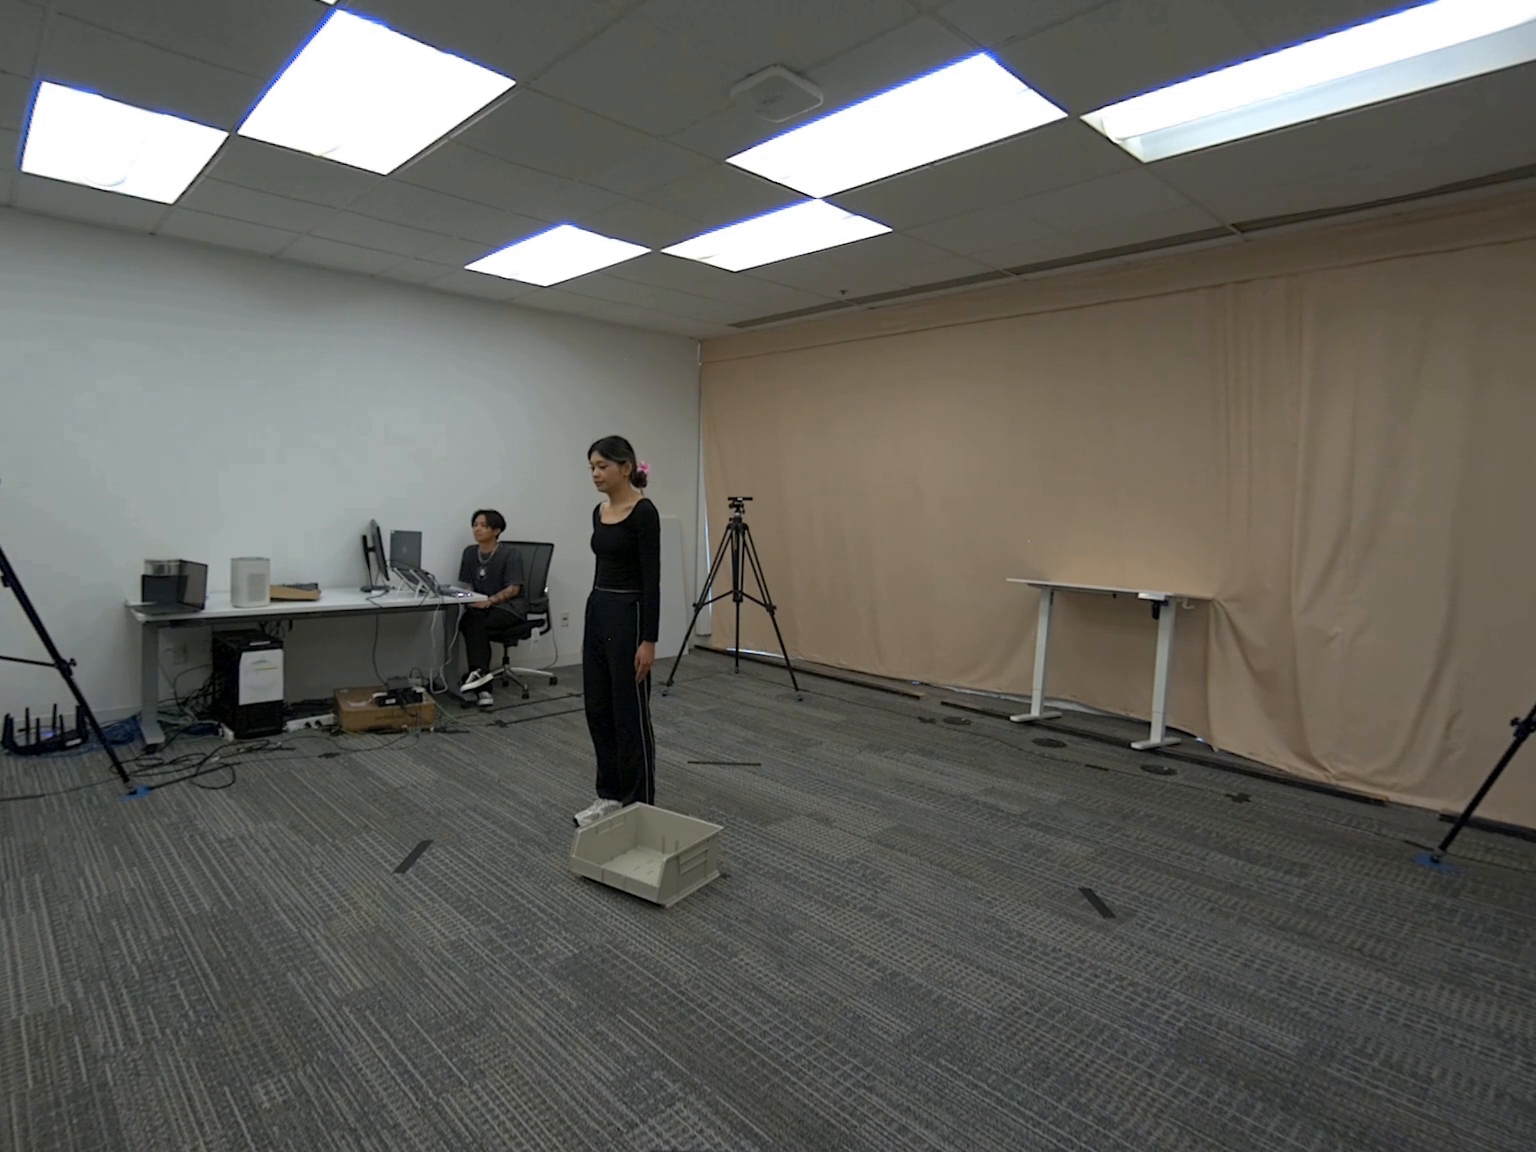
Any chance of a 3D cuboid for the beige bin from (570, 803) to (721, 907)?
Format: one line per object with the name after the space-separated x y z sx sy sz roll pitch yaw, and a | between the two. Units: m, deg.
-0.445 1.018 3.073 0.432 0.188 0.369 3 4 33 | beige bin
